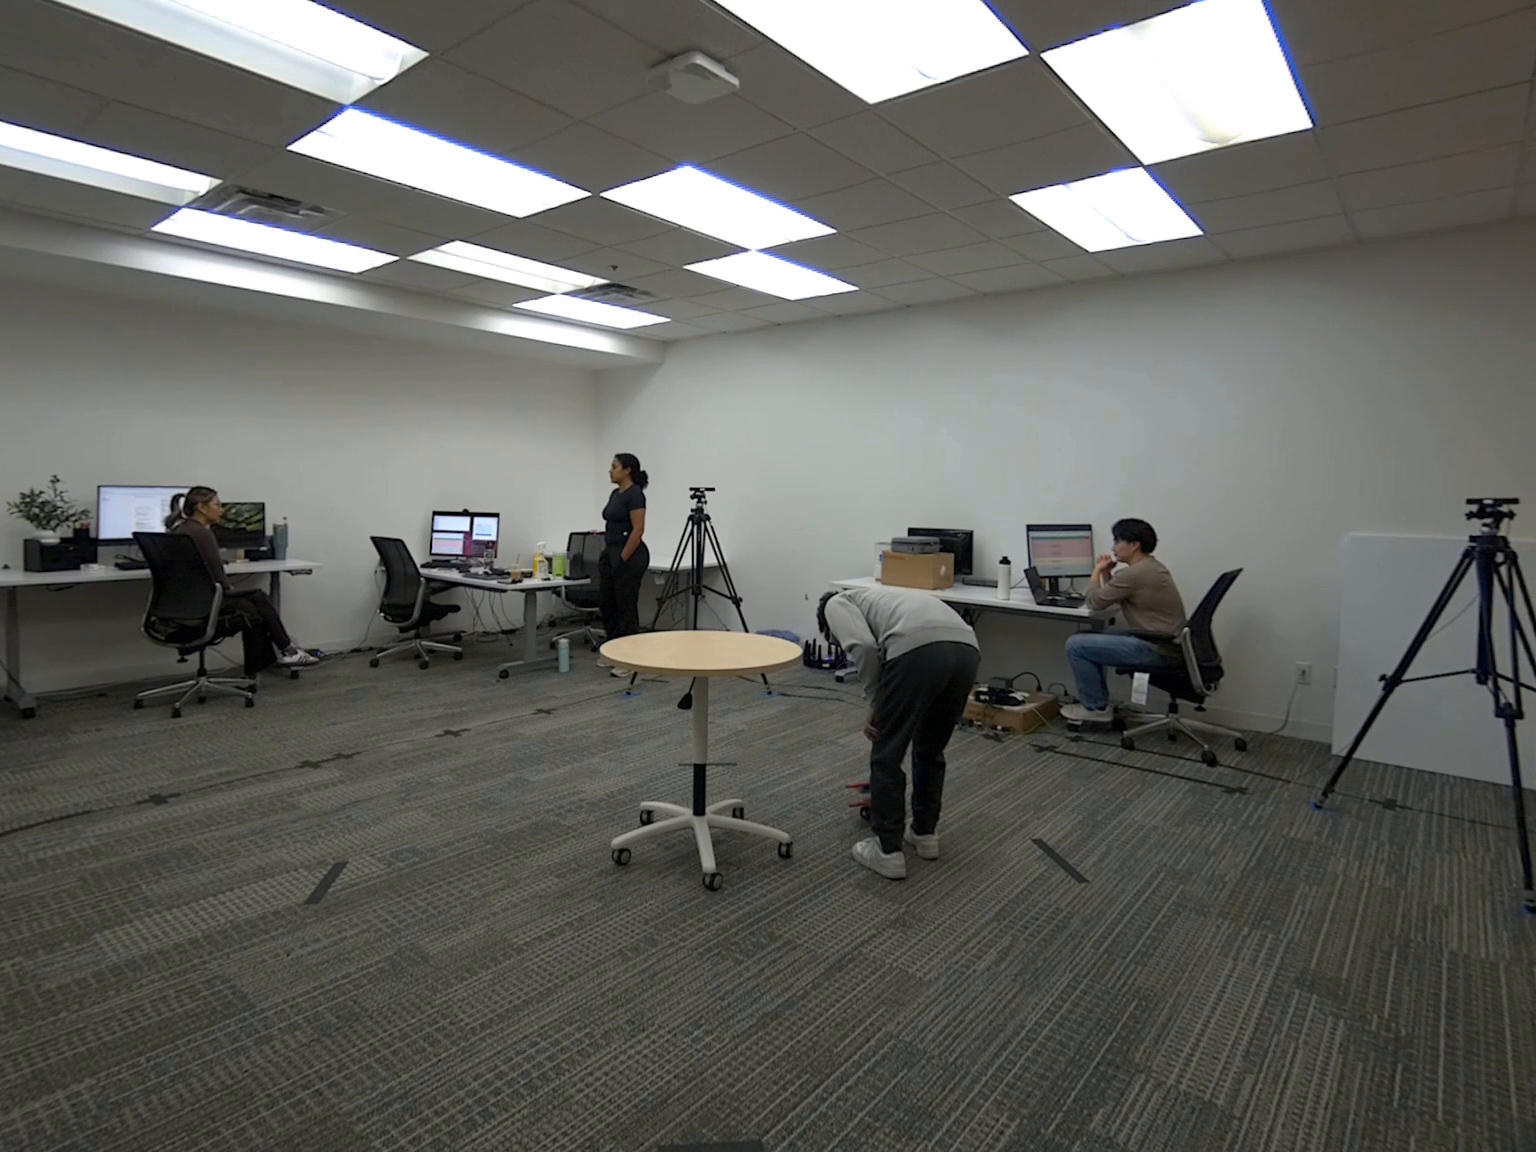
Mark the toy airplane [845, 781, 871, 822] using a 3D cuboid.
[{"bbox_3d":[0.480,0.920,3.603,0.262,0.161,0.241,-31,-31,28],"label":"toy airplane"}]
